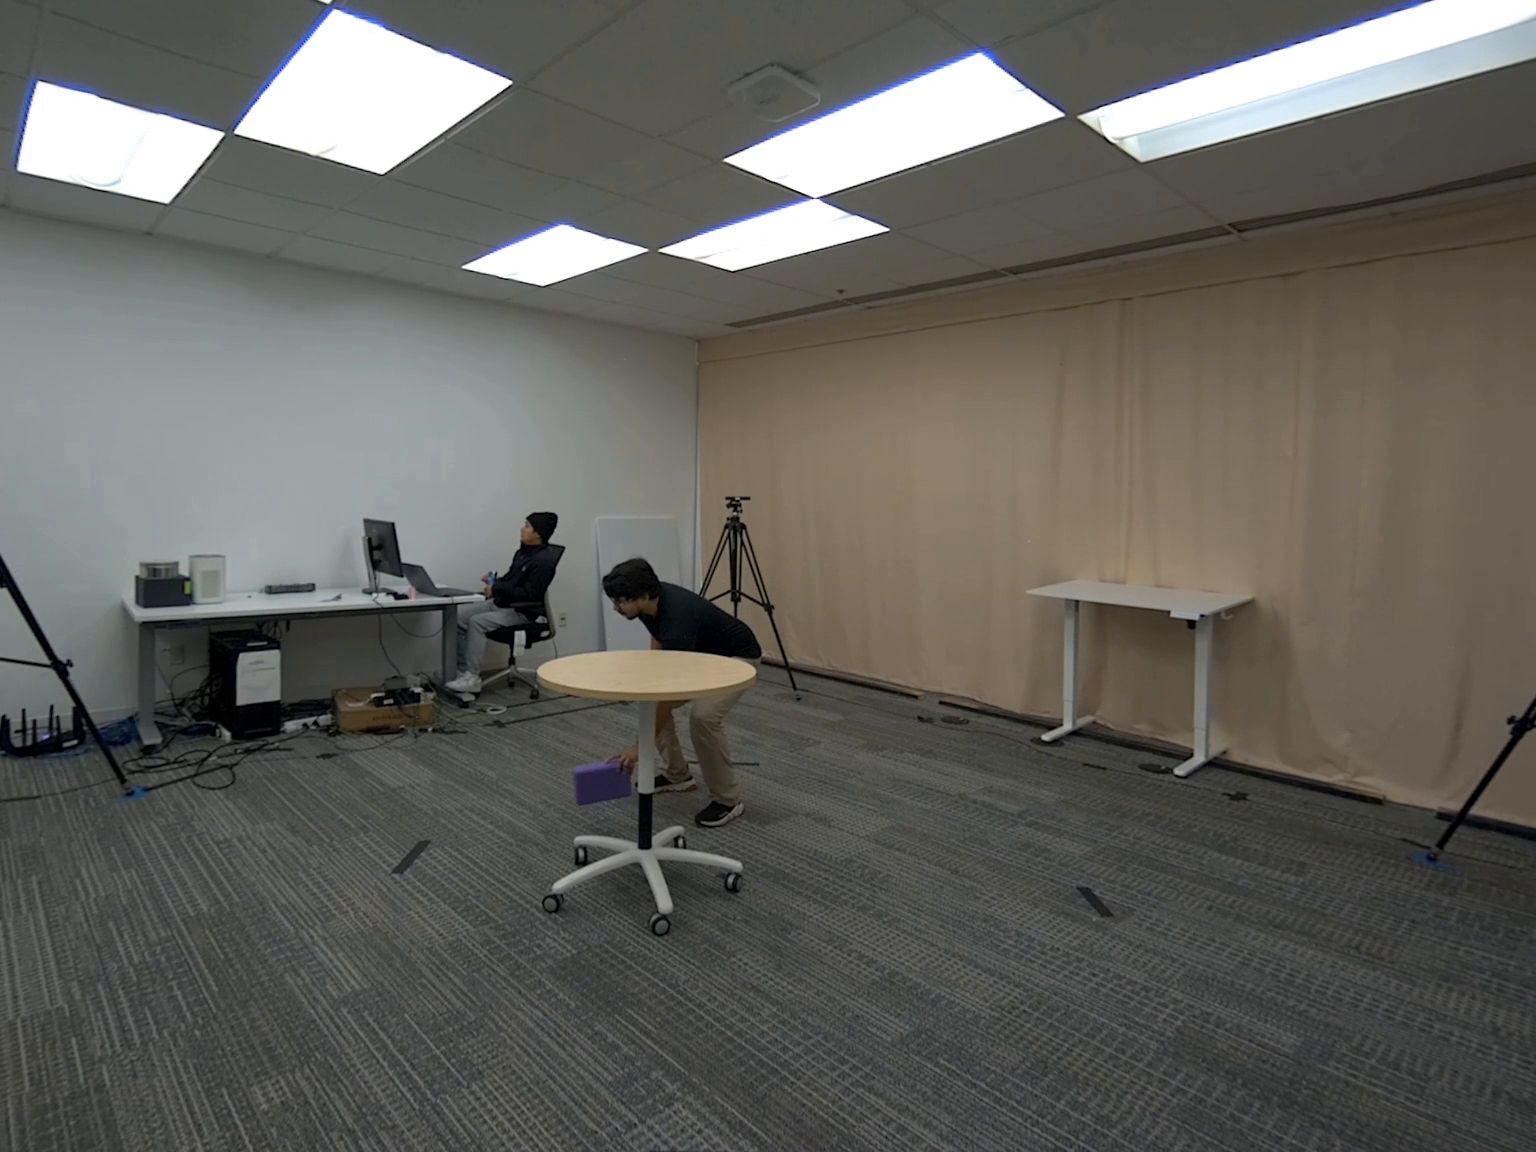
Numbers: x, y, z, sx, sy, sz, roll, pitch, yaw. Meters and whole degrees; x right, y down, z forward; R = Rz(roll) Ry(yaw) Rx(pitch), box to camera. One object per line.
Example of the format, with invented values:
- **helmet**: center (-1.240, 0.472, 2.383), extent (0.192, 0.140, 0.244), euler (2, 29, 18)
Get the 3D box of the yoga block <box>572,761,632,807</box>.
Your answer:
- **yoga block**: center (-0.693, 0.855, 3.493), extent (0.227, 0.148, 0.078), euler (-6, 9, -17)
